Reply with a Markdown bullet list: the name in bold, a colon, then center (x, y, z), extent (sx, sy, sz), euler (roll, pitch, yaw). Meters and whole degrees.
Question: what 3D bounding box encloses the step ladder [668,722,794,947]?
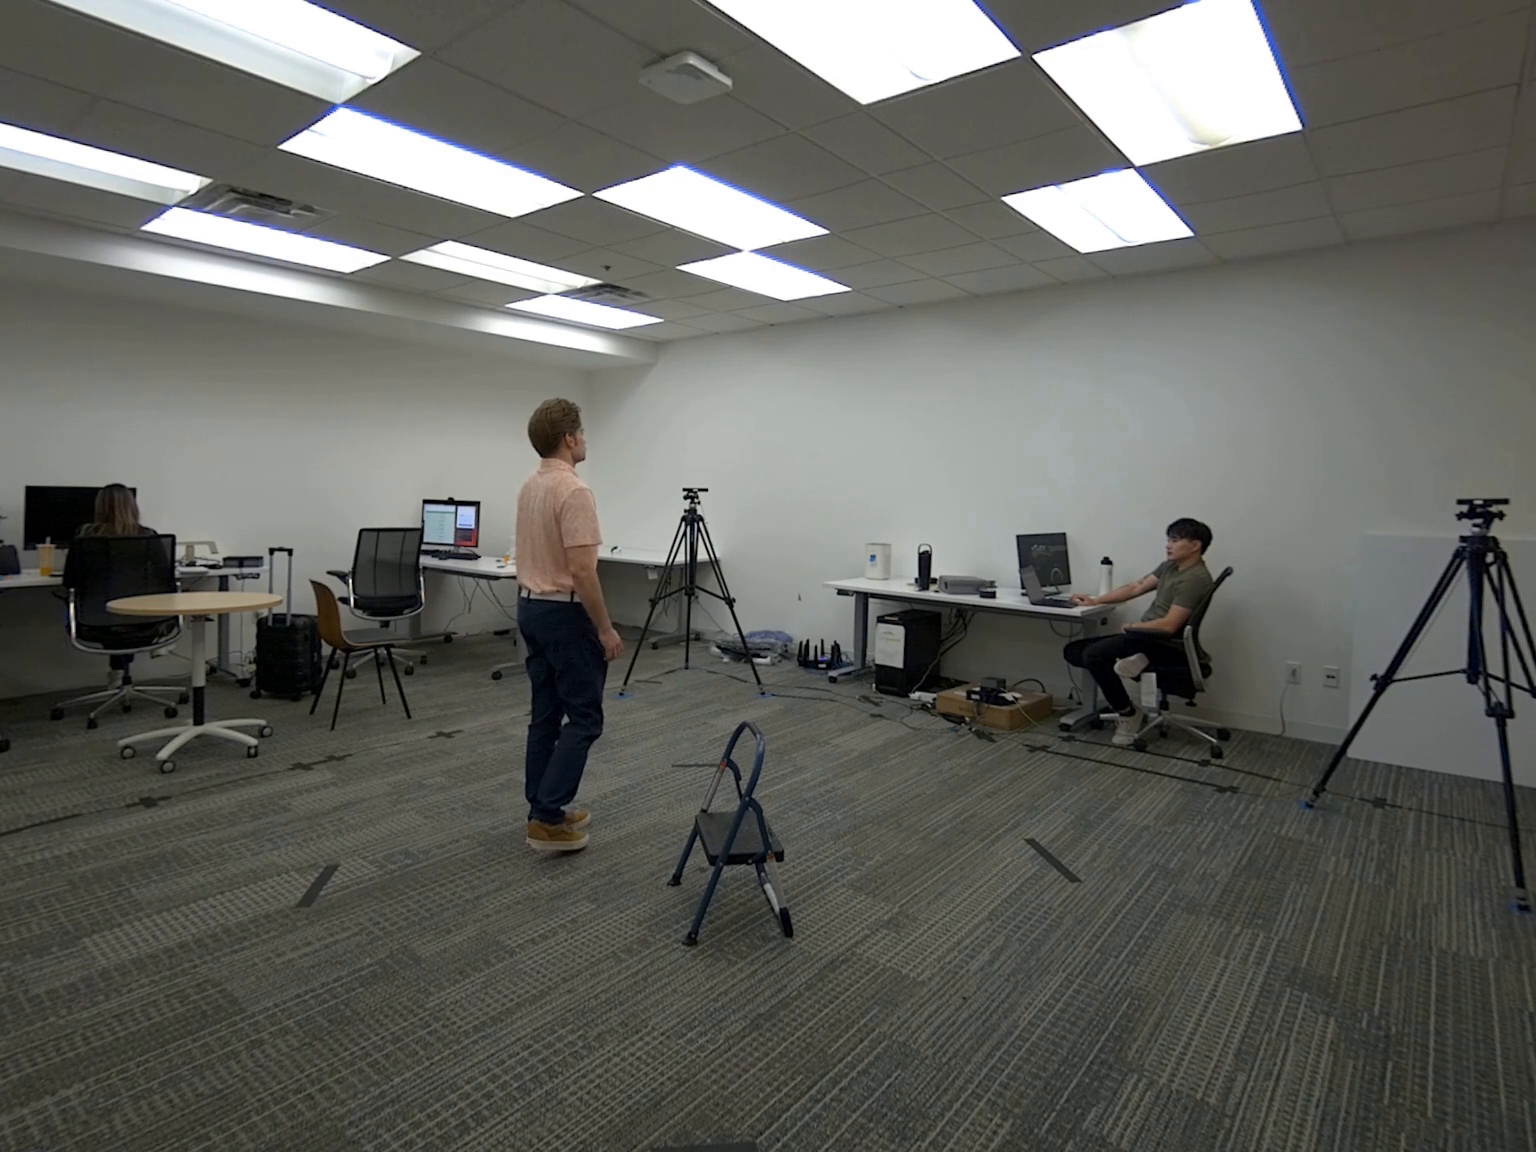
- **step ladder**: center (-0.132, 0.801, 2.801), extent (0.345, 0.604, 0.438), euler (0, 4, -13)
